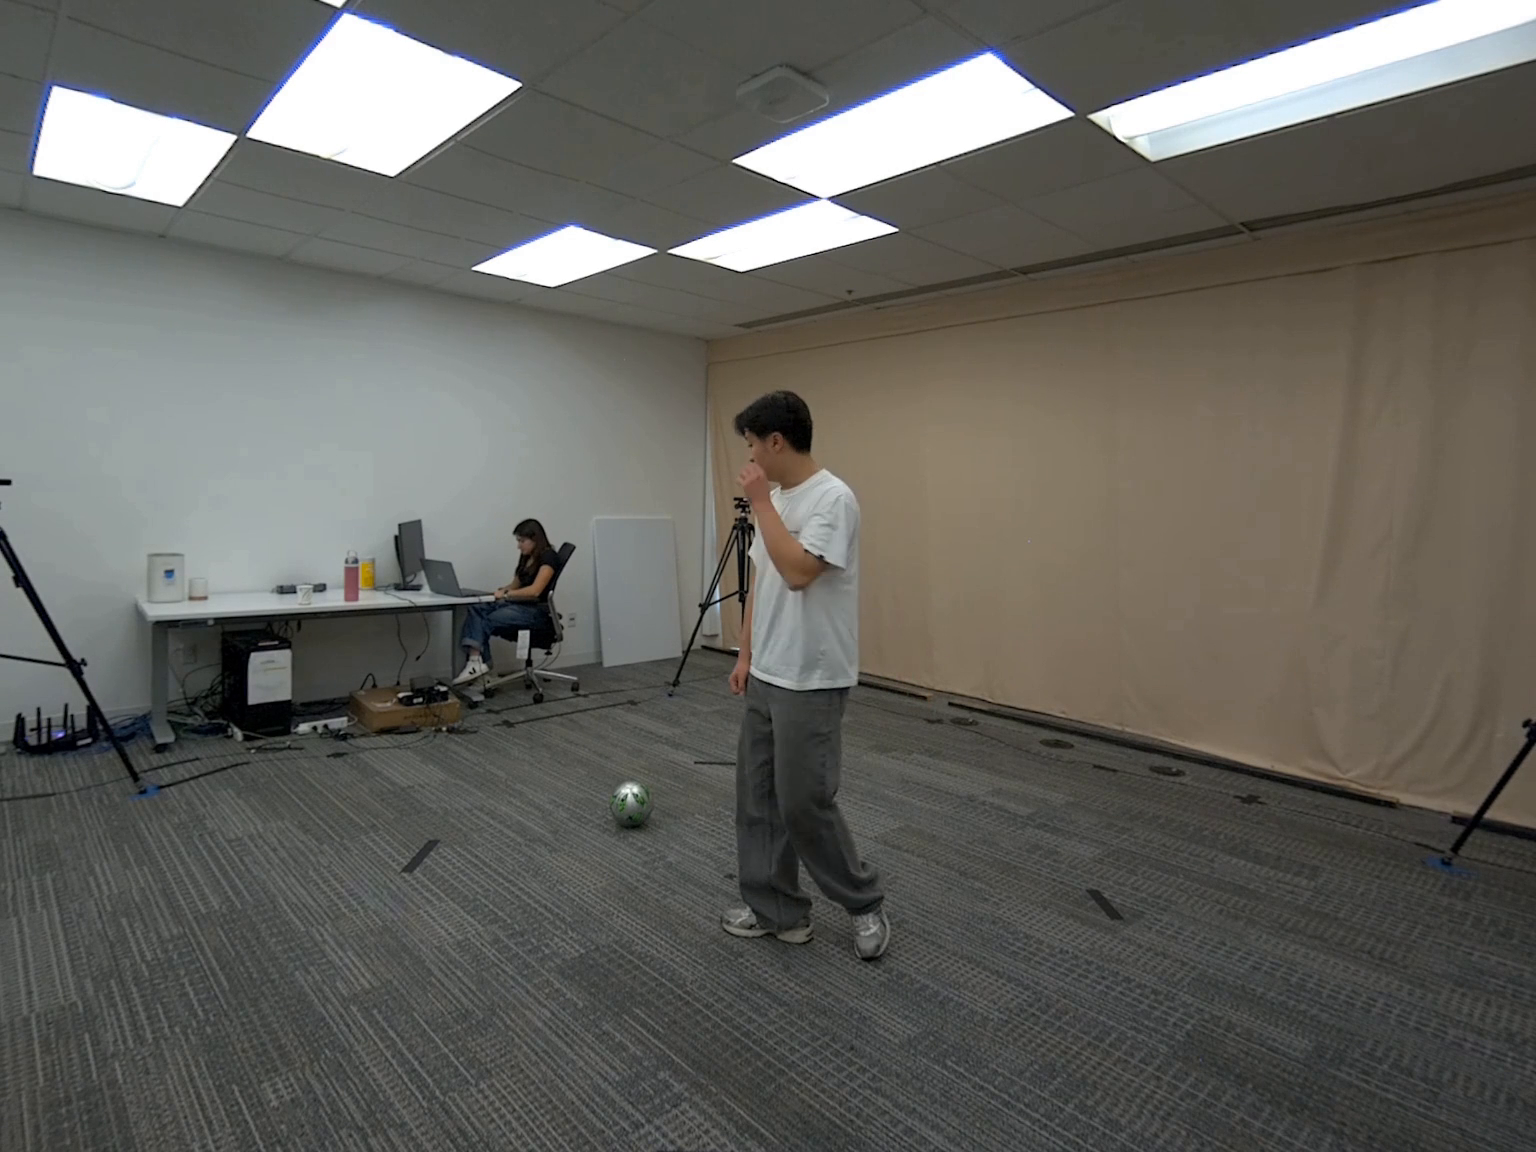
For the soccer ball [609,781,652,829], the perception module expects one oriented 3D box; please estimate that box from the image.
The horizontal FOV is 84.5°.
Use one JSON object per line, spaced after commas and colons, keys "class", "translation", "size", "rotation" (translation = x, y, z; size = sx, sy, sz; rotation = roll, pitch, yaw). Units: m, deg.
{"class": "soccer ball", "translation": [-0.588, 0.967, 3.556], "size": [0.187, 0.187, 0.188], "rotation": [1, 4, -1]}
